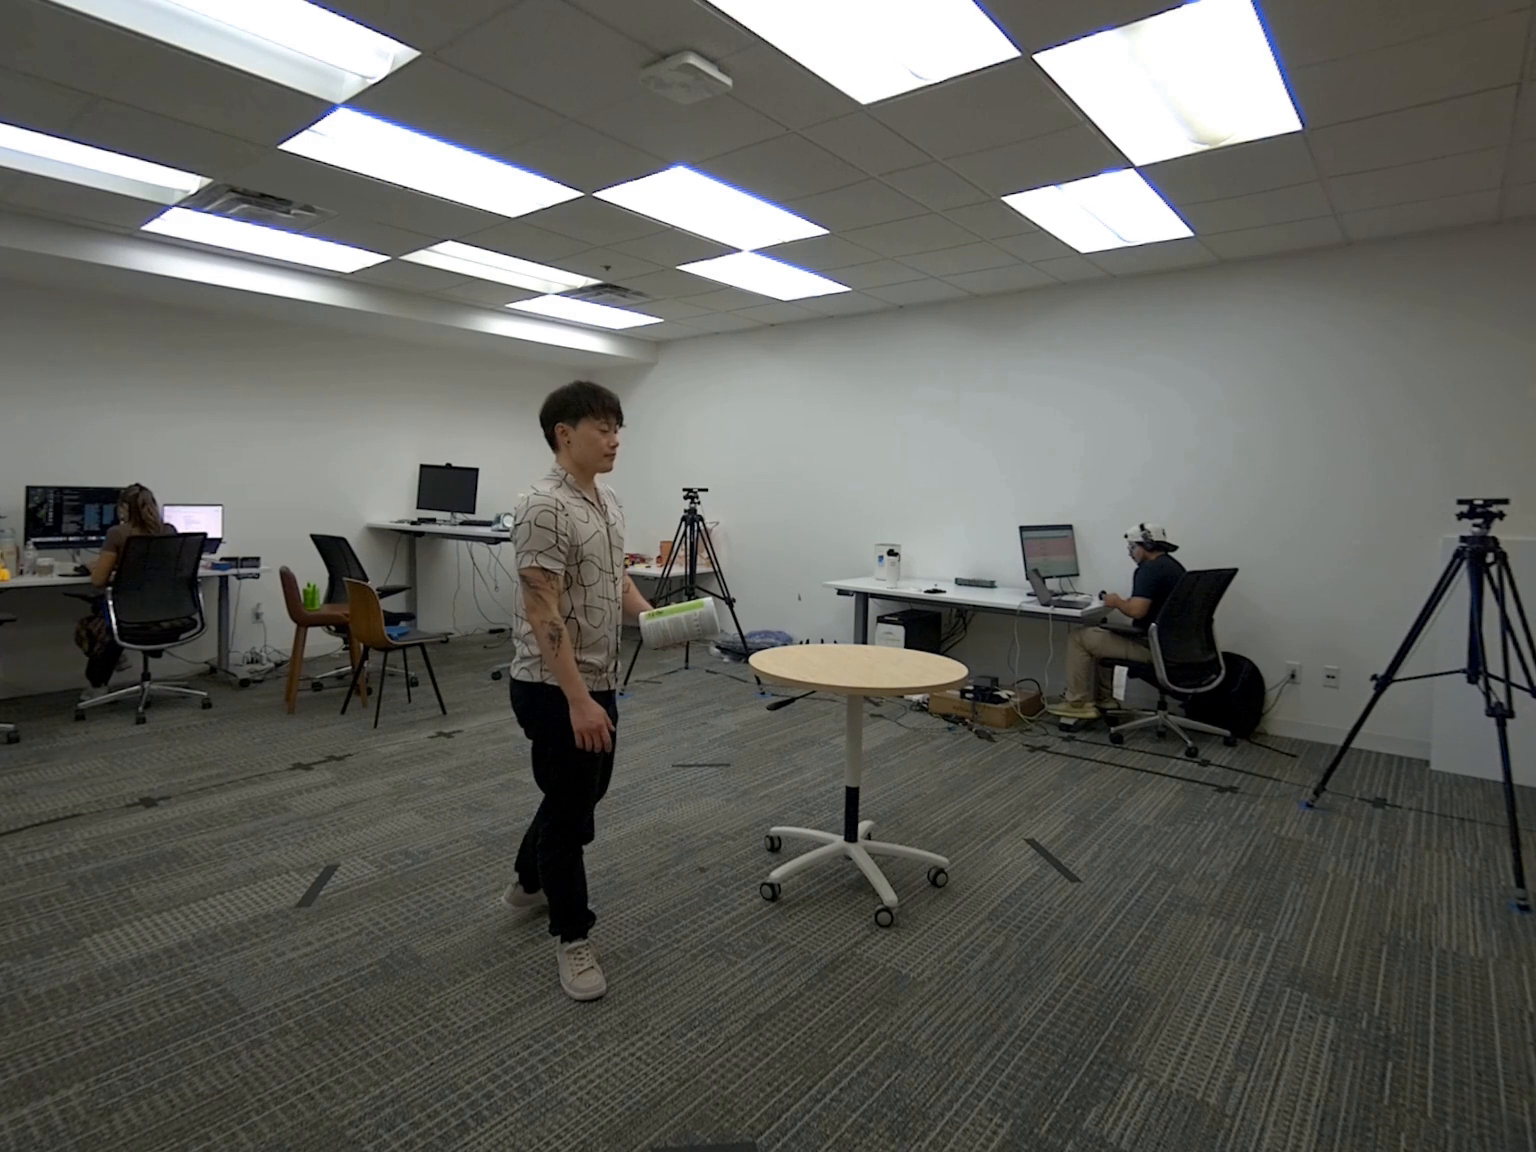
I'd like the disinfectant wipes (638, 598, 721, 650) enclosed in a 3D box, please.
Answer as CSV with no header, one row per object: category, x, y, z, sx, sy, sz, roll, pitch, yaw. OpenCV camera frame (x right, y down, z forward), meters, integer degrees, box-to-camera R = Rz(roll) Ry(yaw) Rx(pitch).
disinfectant wipes,-0.268,0.134,2.413,0.217,0.117,0.119,-13,5,-3
